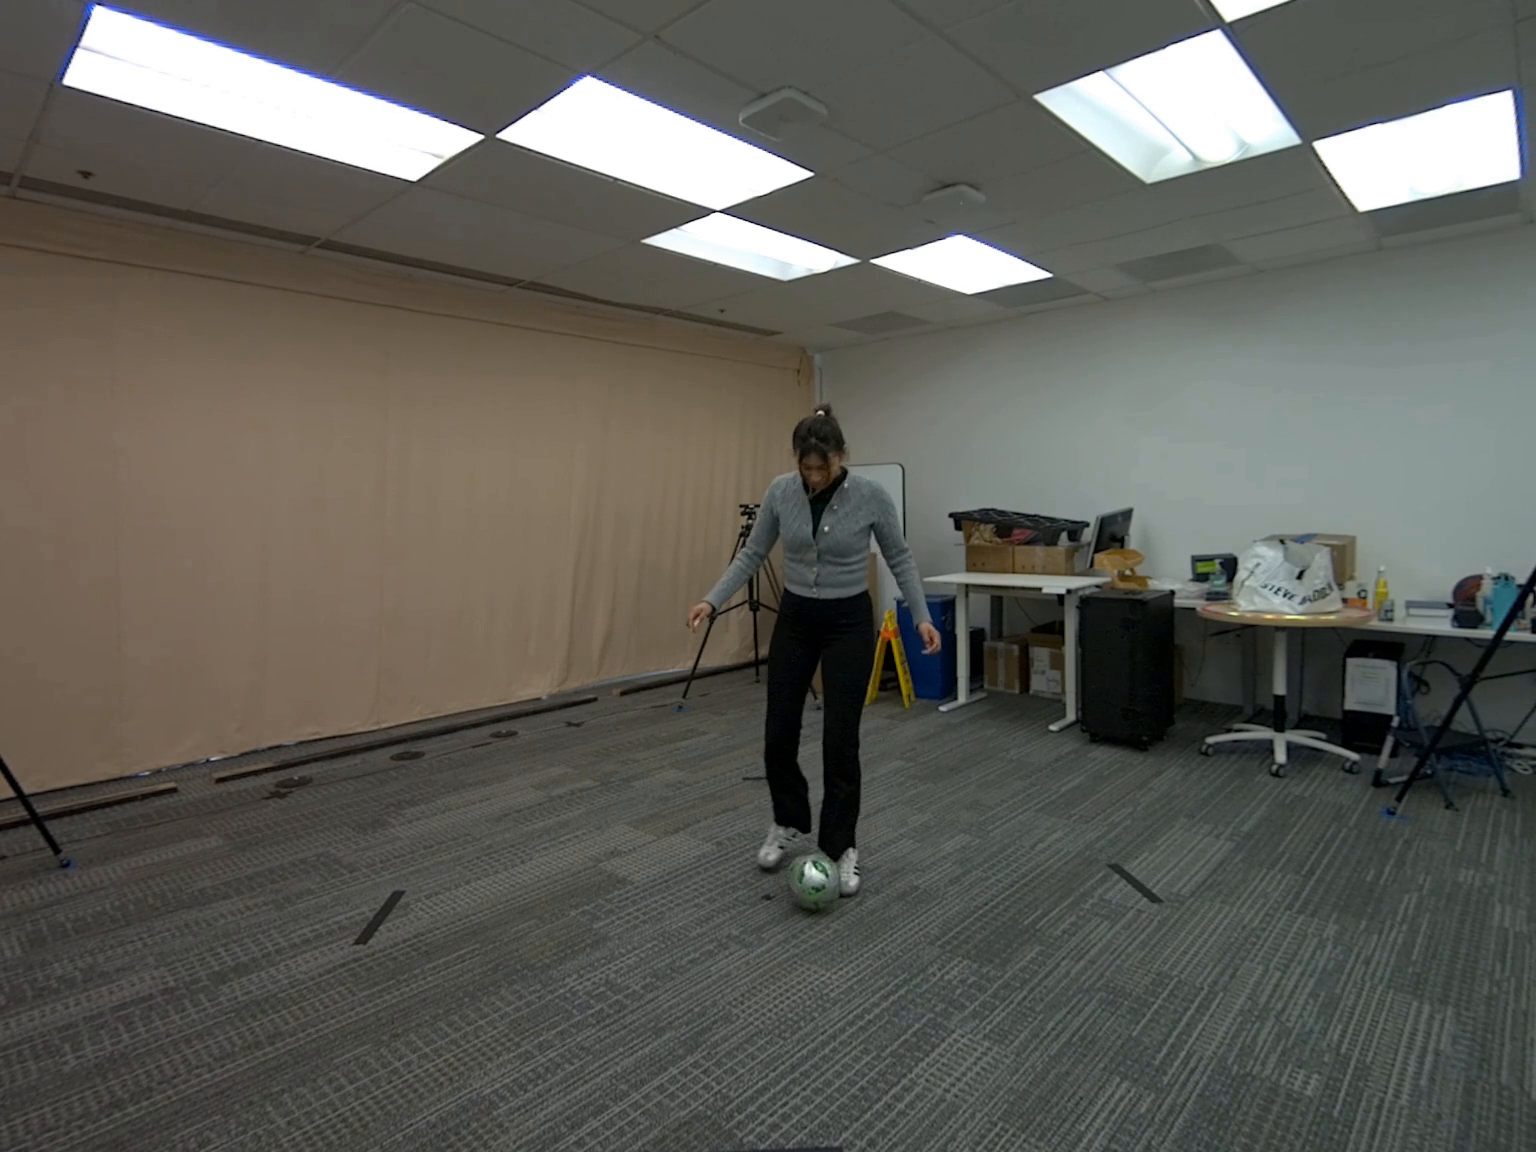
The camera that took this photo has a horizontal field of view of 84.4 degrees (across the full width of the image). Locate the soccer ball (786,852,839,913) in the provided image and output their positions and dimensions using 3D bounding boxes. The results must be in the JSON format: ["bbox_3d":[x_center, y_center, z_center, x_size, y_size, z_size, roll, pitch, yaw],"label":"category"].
[{"bbox_3d":[0.164,1.048,2.884,0.187,0.187,0.188,-1,4,-2],"label":"soccer ball"}]
